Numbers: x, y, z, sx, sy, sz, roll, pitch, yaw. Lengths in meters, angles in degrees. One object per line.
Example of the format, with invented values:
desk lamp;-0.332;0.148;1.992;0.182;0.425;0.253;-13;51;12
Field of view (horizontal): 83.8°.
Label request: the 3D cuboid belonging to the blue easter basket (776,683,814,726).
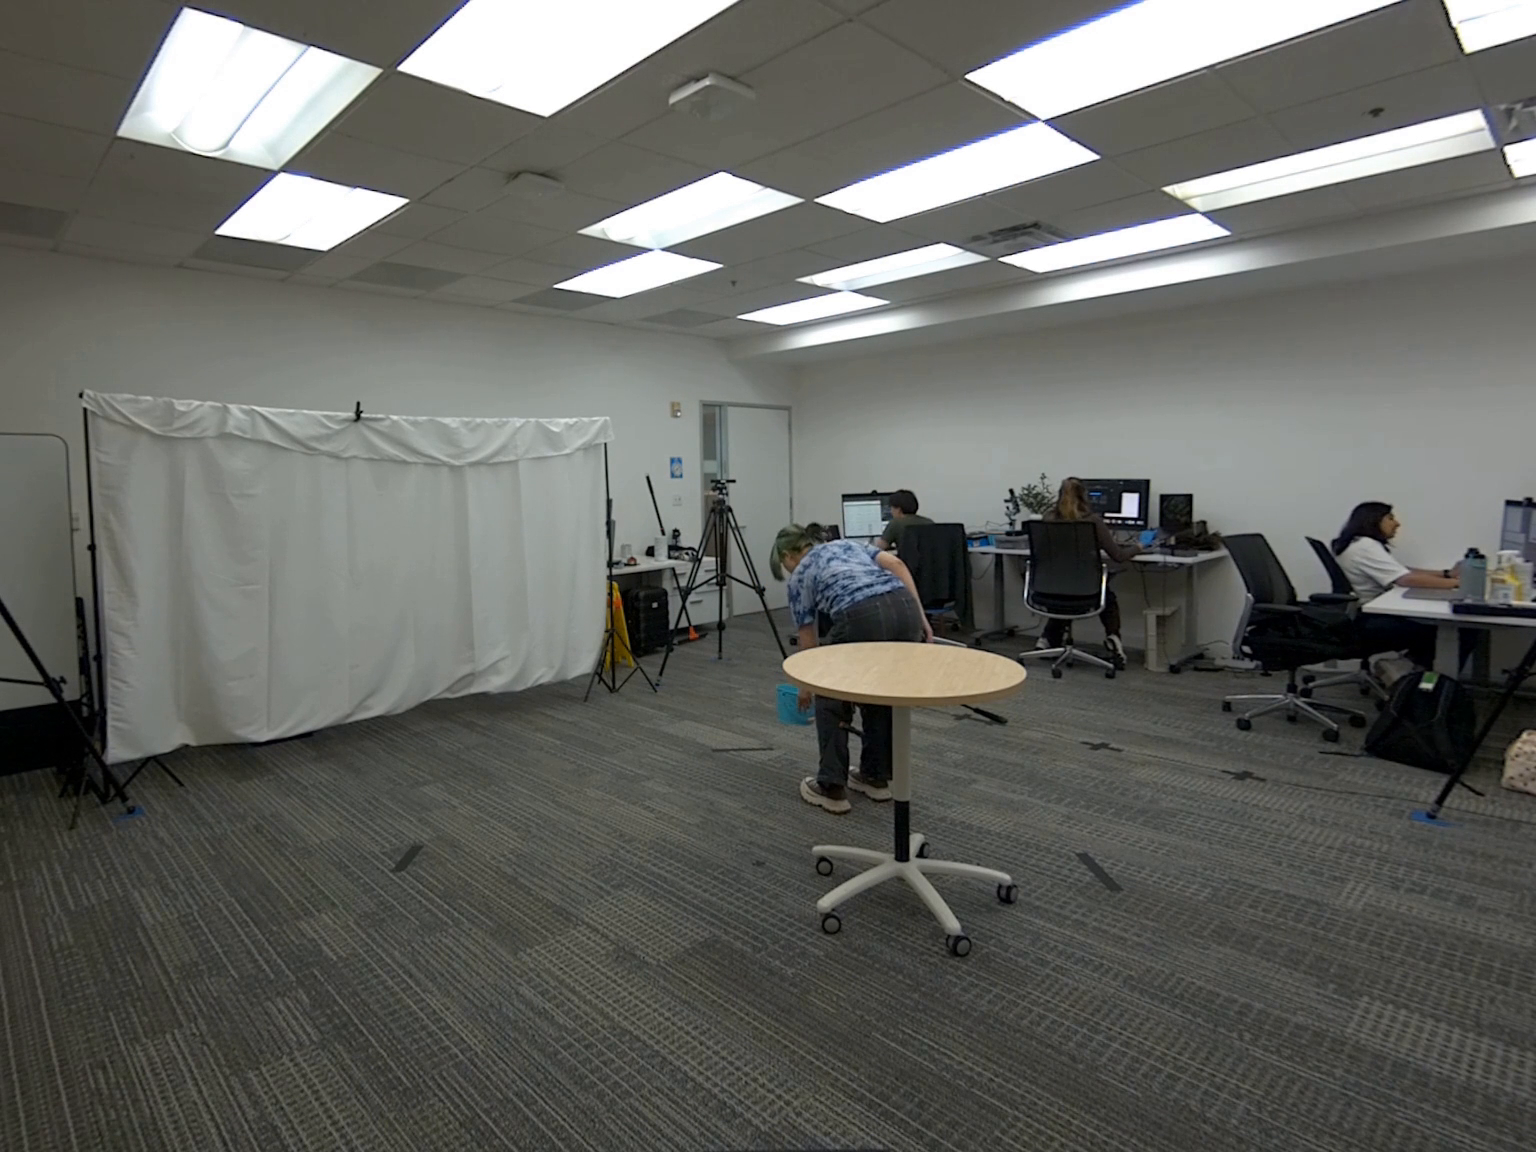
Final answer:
blue easter basket;0.148;0.619;4.119;0.243;0.155;0.244;3;3;-2
